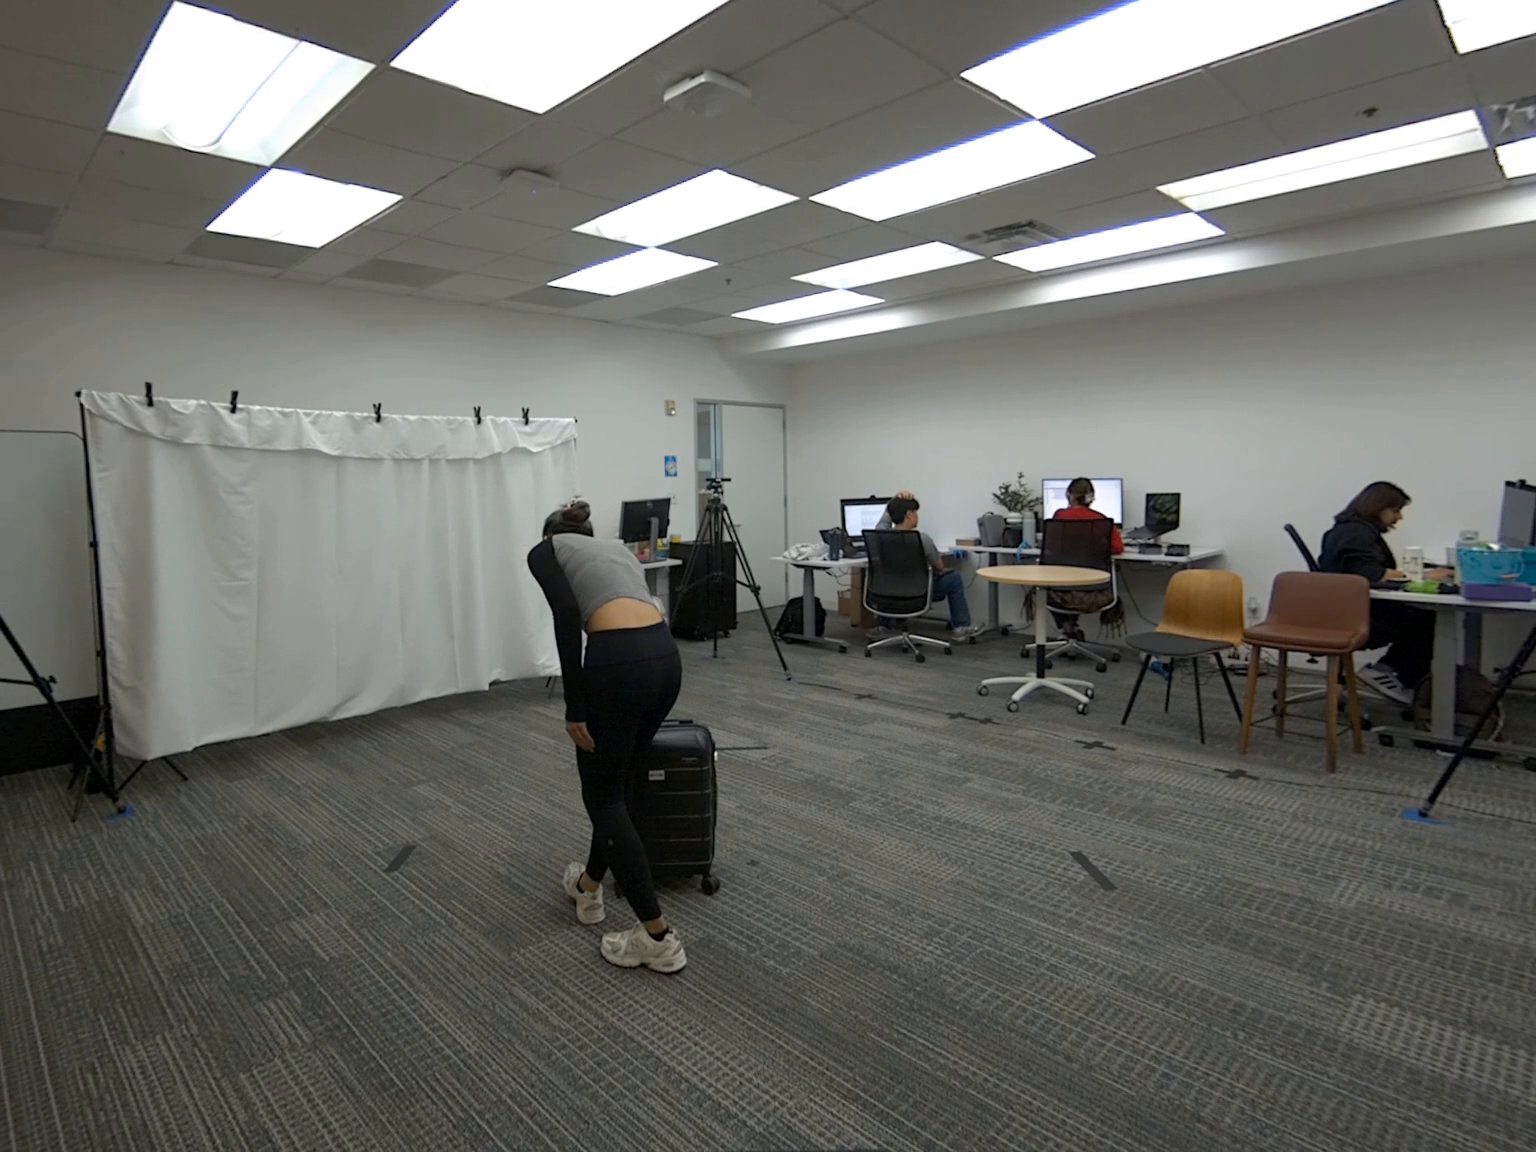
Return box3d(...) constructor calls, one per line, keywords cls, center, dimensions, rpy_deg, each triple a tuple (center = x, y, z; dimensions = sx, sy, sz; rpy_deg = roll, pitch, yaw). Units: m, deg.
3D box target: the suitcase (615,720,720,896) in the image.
box3d(cls="suitcase", center=(-0.363, 0.785, 2.989), dimensions=(0.375, 0.548, 0.249), rpy_deg=(-1, 3, -2))
